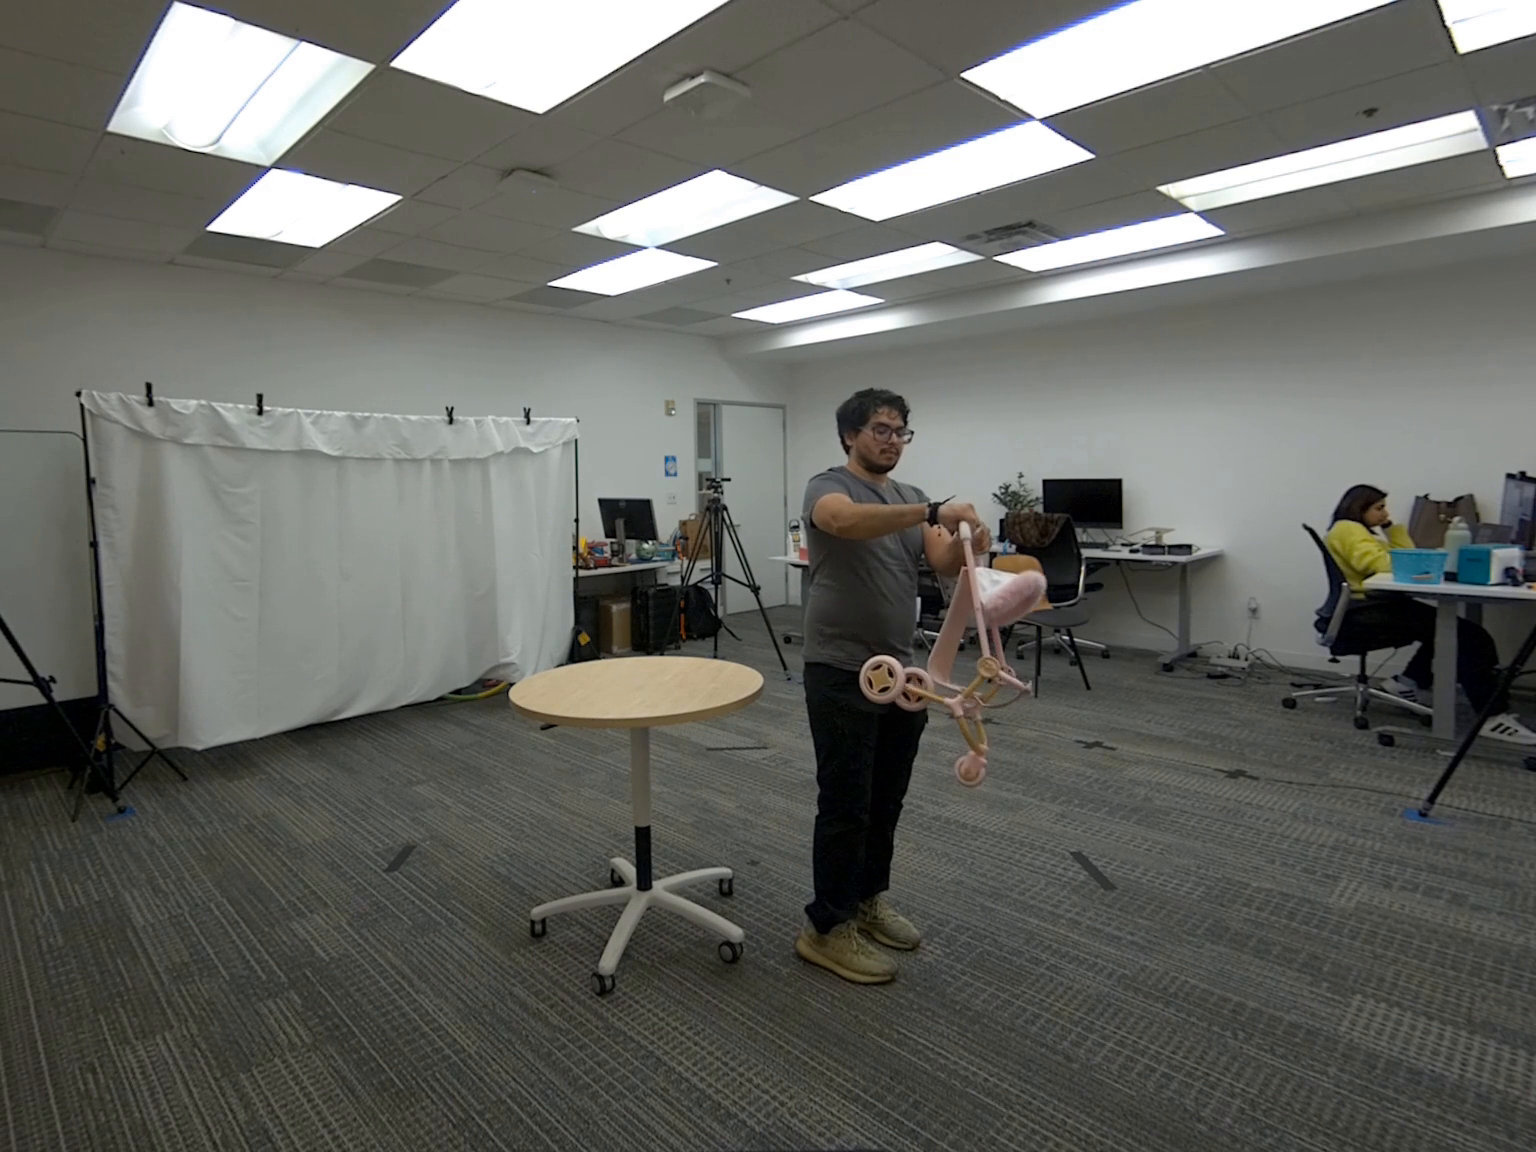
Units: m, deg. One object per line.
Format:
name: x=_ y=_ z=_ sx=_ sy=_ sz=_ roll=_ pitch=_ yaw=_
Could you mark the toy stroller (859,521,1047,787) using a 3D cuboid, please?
toy stroller: x=0.483 y=0.183 z=1.996 sx=0.354 sy=0.534 sz=0.271 roll=31 pitch=2 yaw=34
